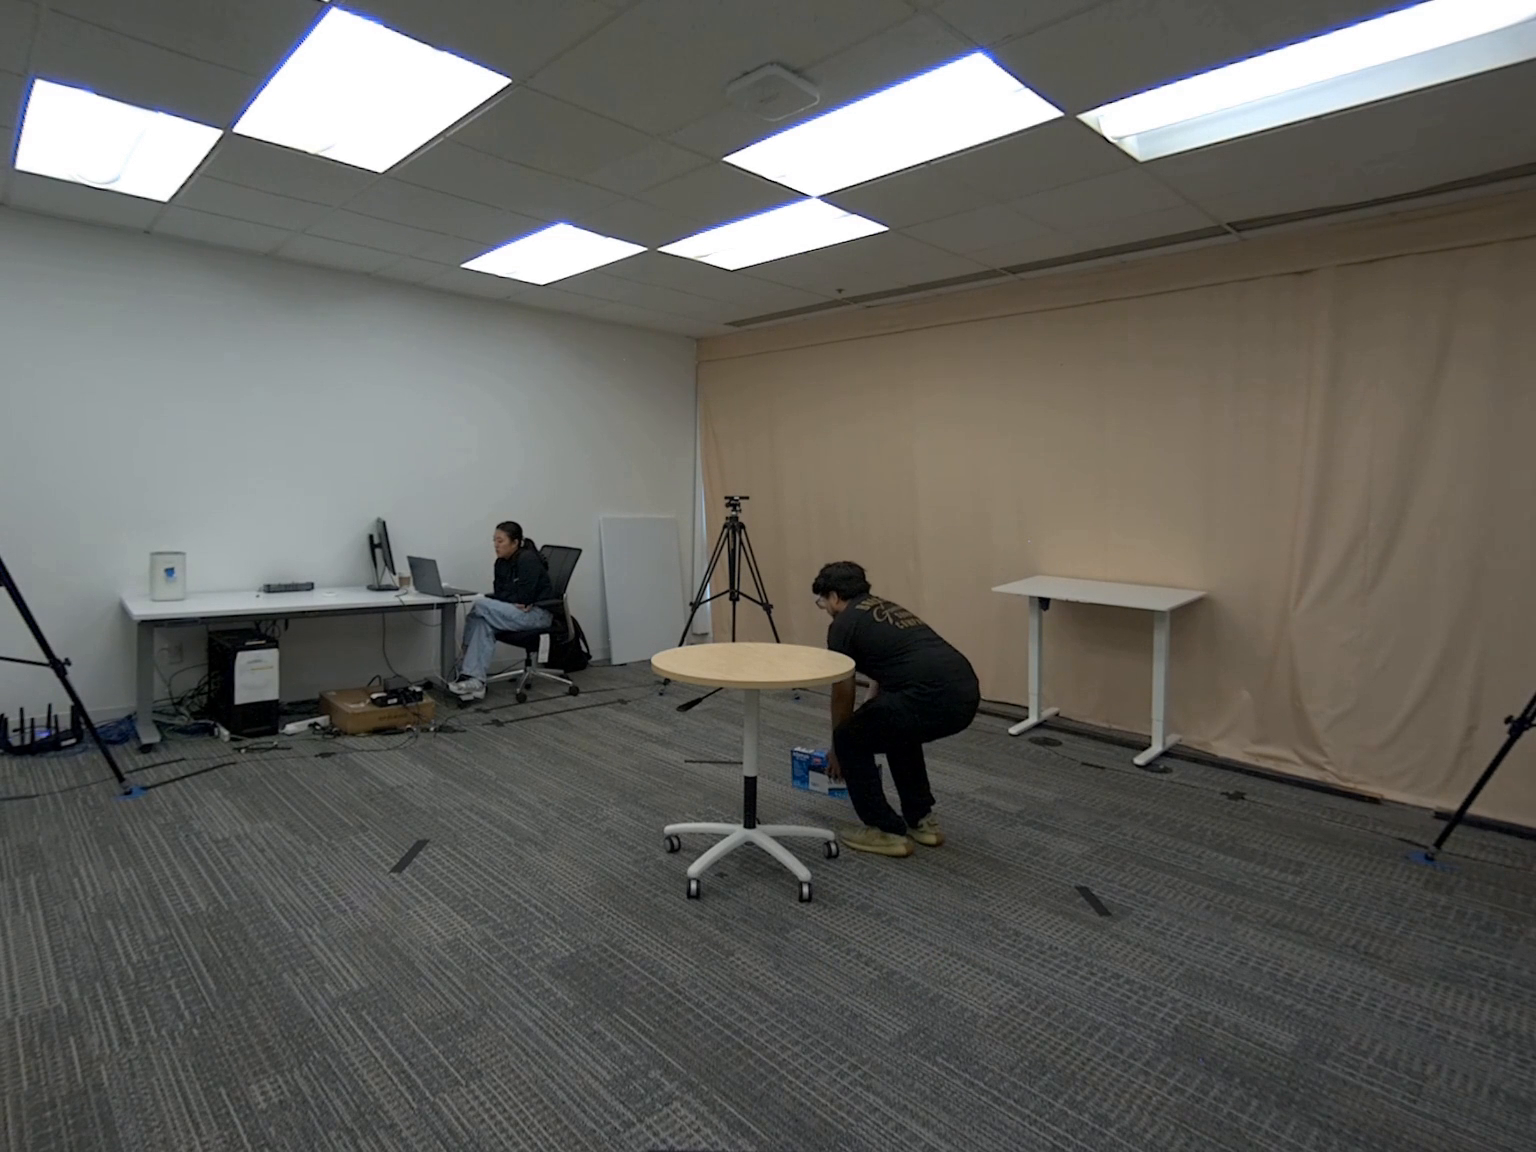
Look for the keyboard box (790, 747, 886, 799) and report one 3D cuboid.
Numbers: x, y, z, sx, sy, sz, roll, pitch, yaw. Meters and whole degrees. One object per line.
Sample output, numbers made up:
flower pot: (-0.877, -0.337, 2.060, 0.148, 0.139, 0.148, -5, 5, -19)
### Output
keyboard box: (0.290, 0.865, 3.679, 0.447, 0.175, 0.058, 4, 7, 40)
